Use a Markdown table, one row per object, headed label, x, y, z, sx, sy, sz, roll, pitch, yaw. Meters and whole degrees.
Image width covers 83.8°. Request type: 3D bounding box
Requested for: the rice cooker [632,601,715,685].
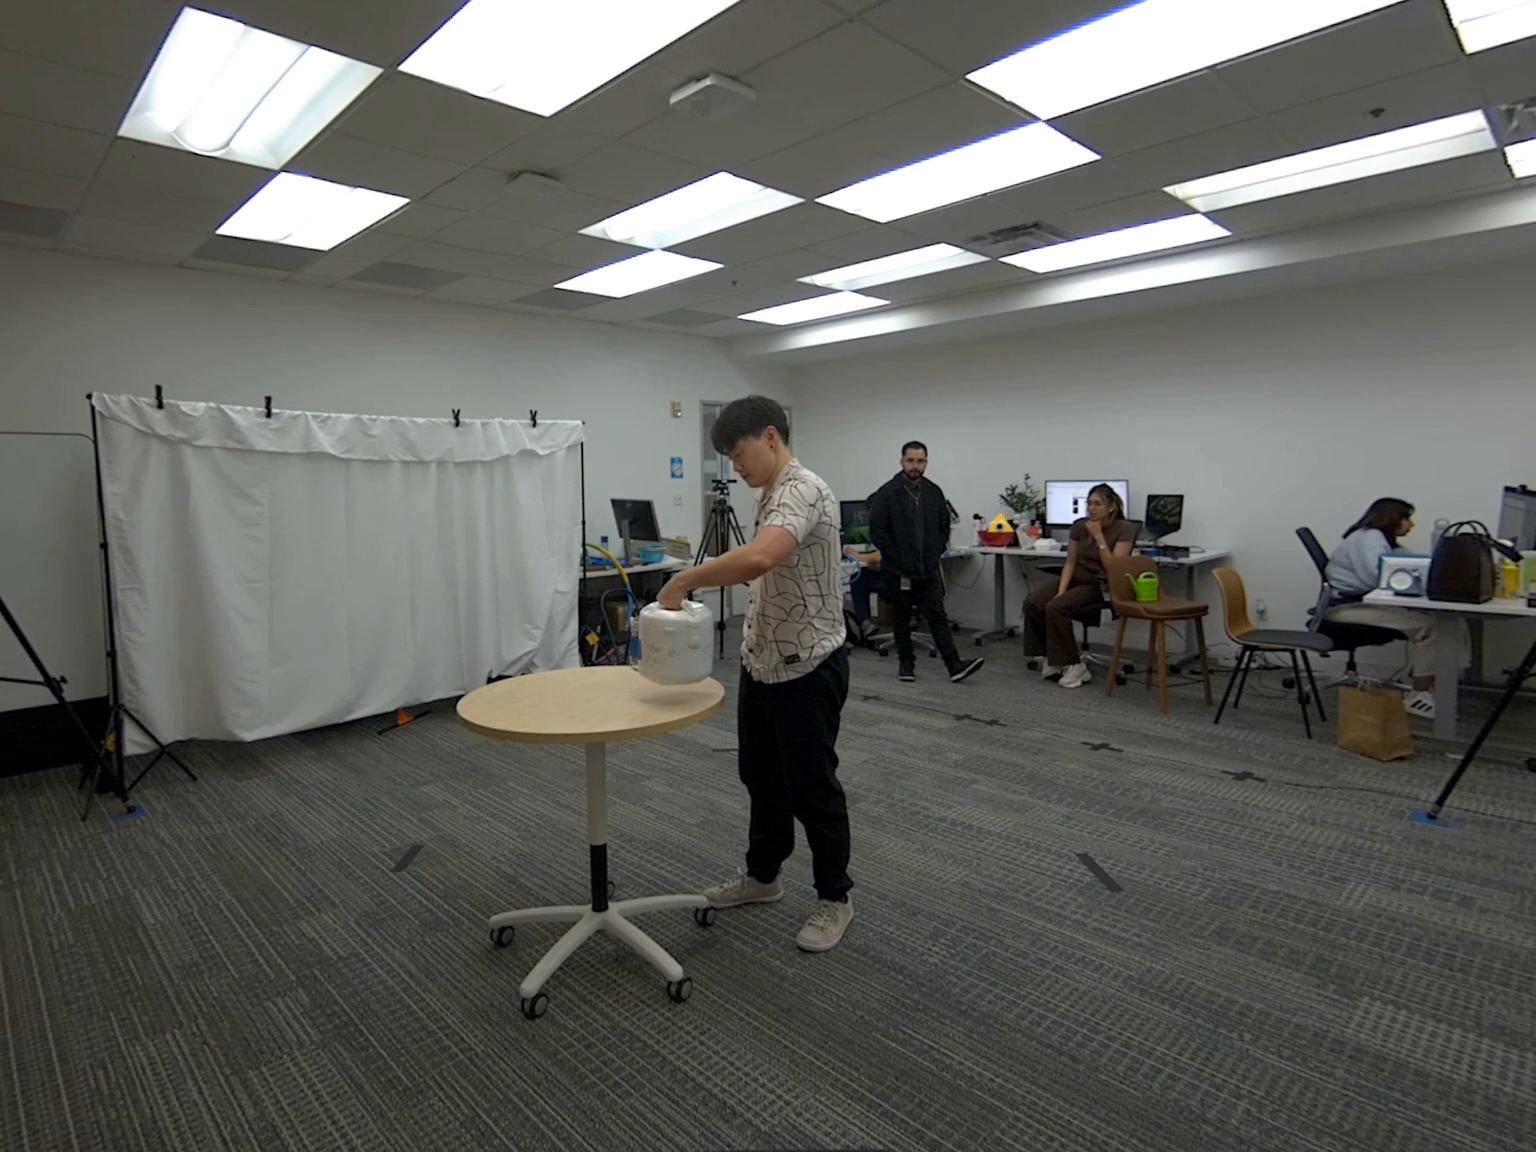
| label | x | y | z | sx | sy | sz | roll | pitch | yaw |
| --- | --- | --- | --- | --- | --- | --- | --- | --- | --- |
| rice cooker | -0.252 | 0.171 | 2.389 | 0.212 | 0.231 | 0.227 | -3 | 9 | -32 |
